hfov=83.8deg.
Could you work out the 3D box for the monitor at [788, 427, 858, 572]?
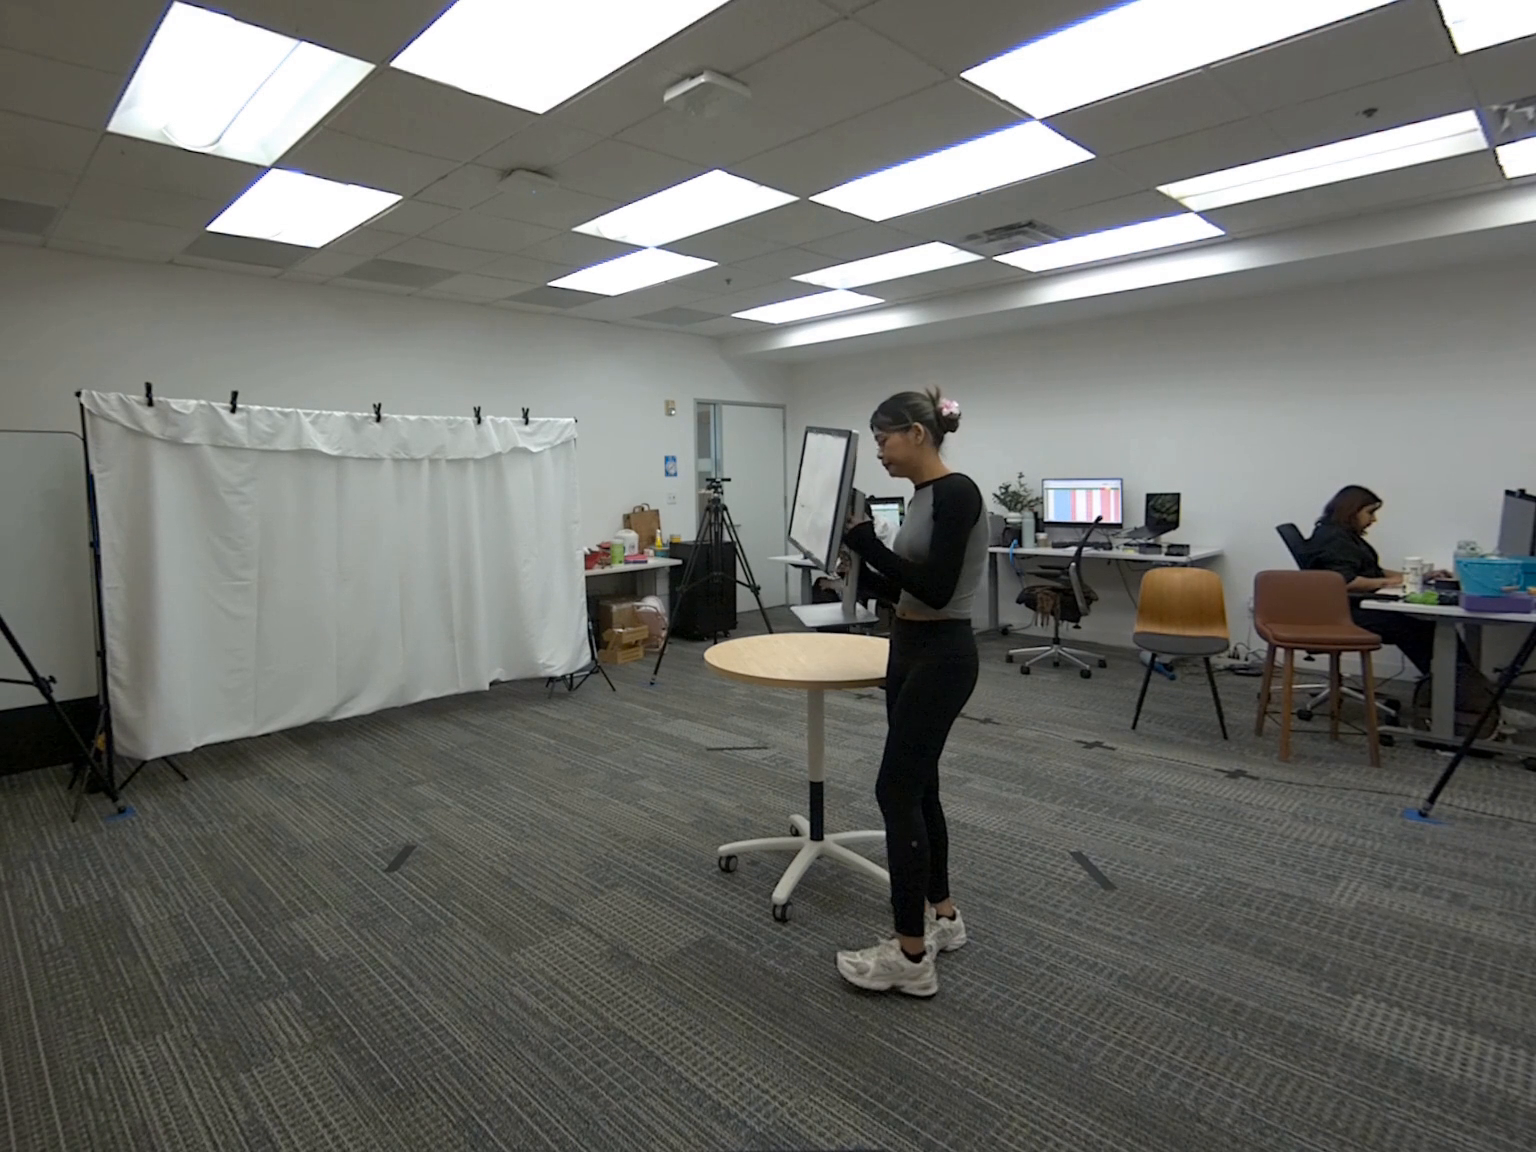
[{"bbox_3d":[0.191,-0.140,2.412,0.185,0.518,0.549,-4,11,-11],"label":"monitor"}]
